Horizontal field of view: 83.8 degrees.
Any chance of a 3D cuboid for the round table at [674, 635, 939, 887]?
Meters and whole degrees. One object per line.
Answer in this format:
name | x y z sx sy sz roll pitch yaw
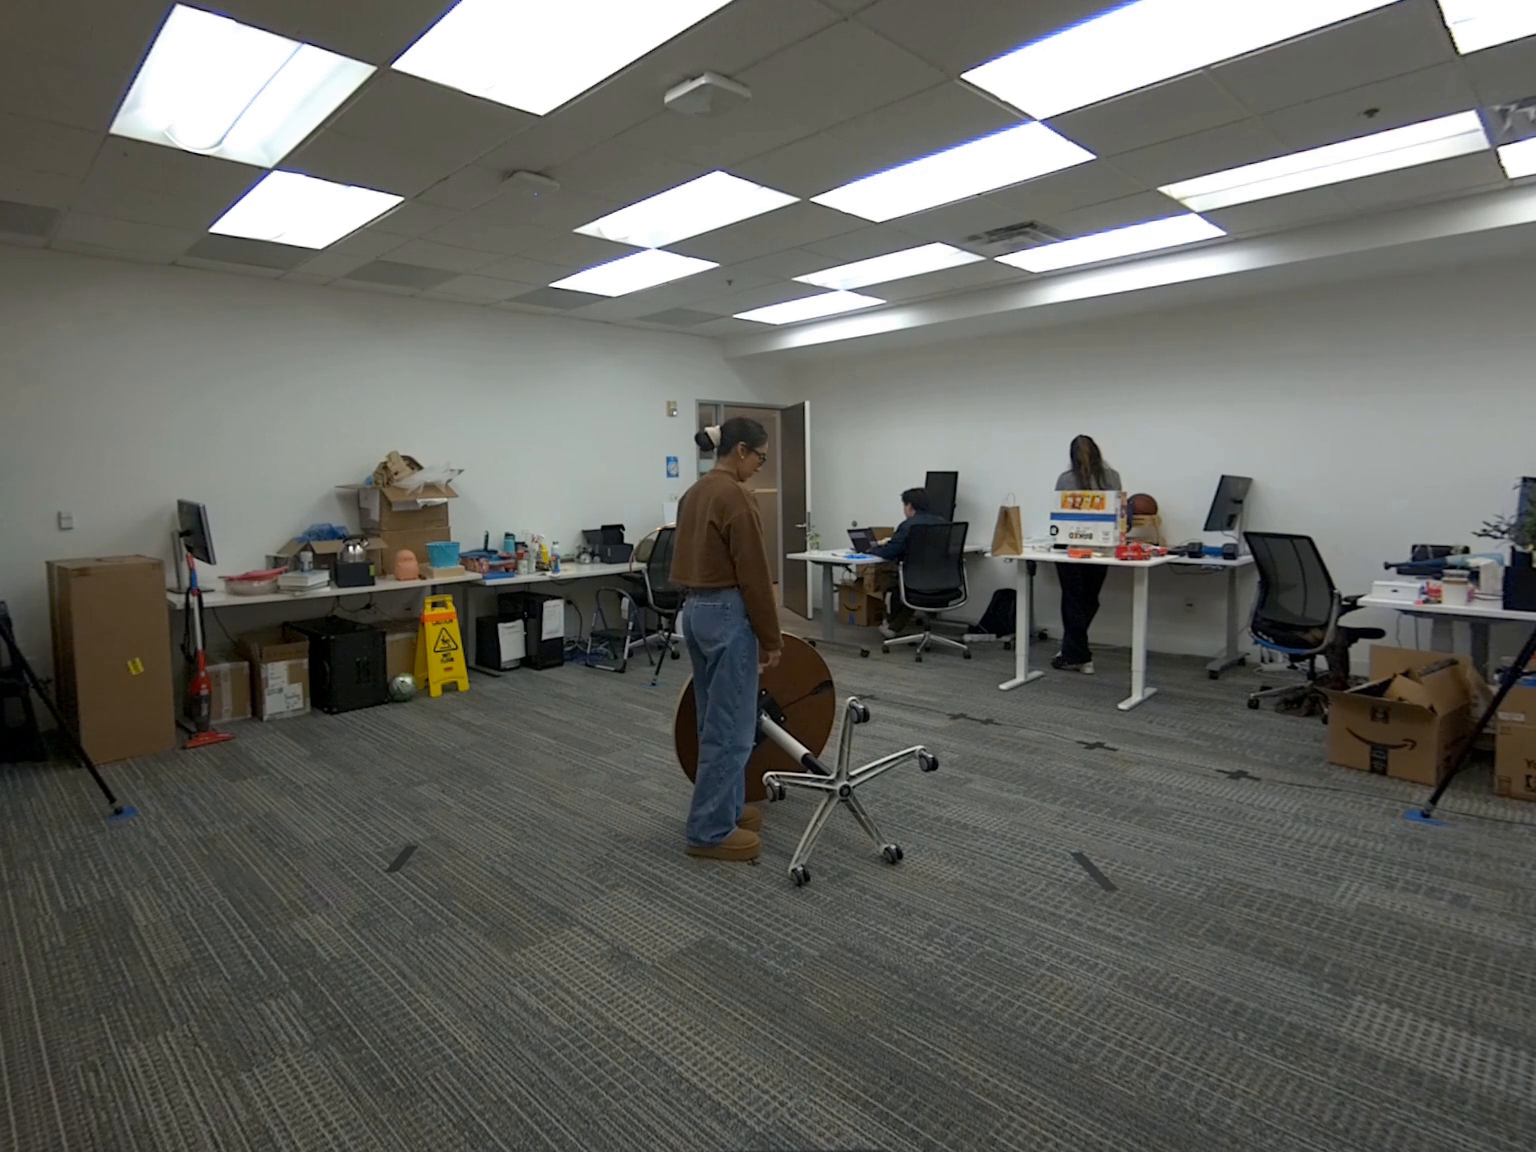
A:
round table | 0.133 0.687 3.300 0.748 0.757 0.819 -3 13 -26
